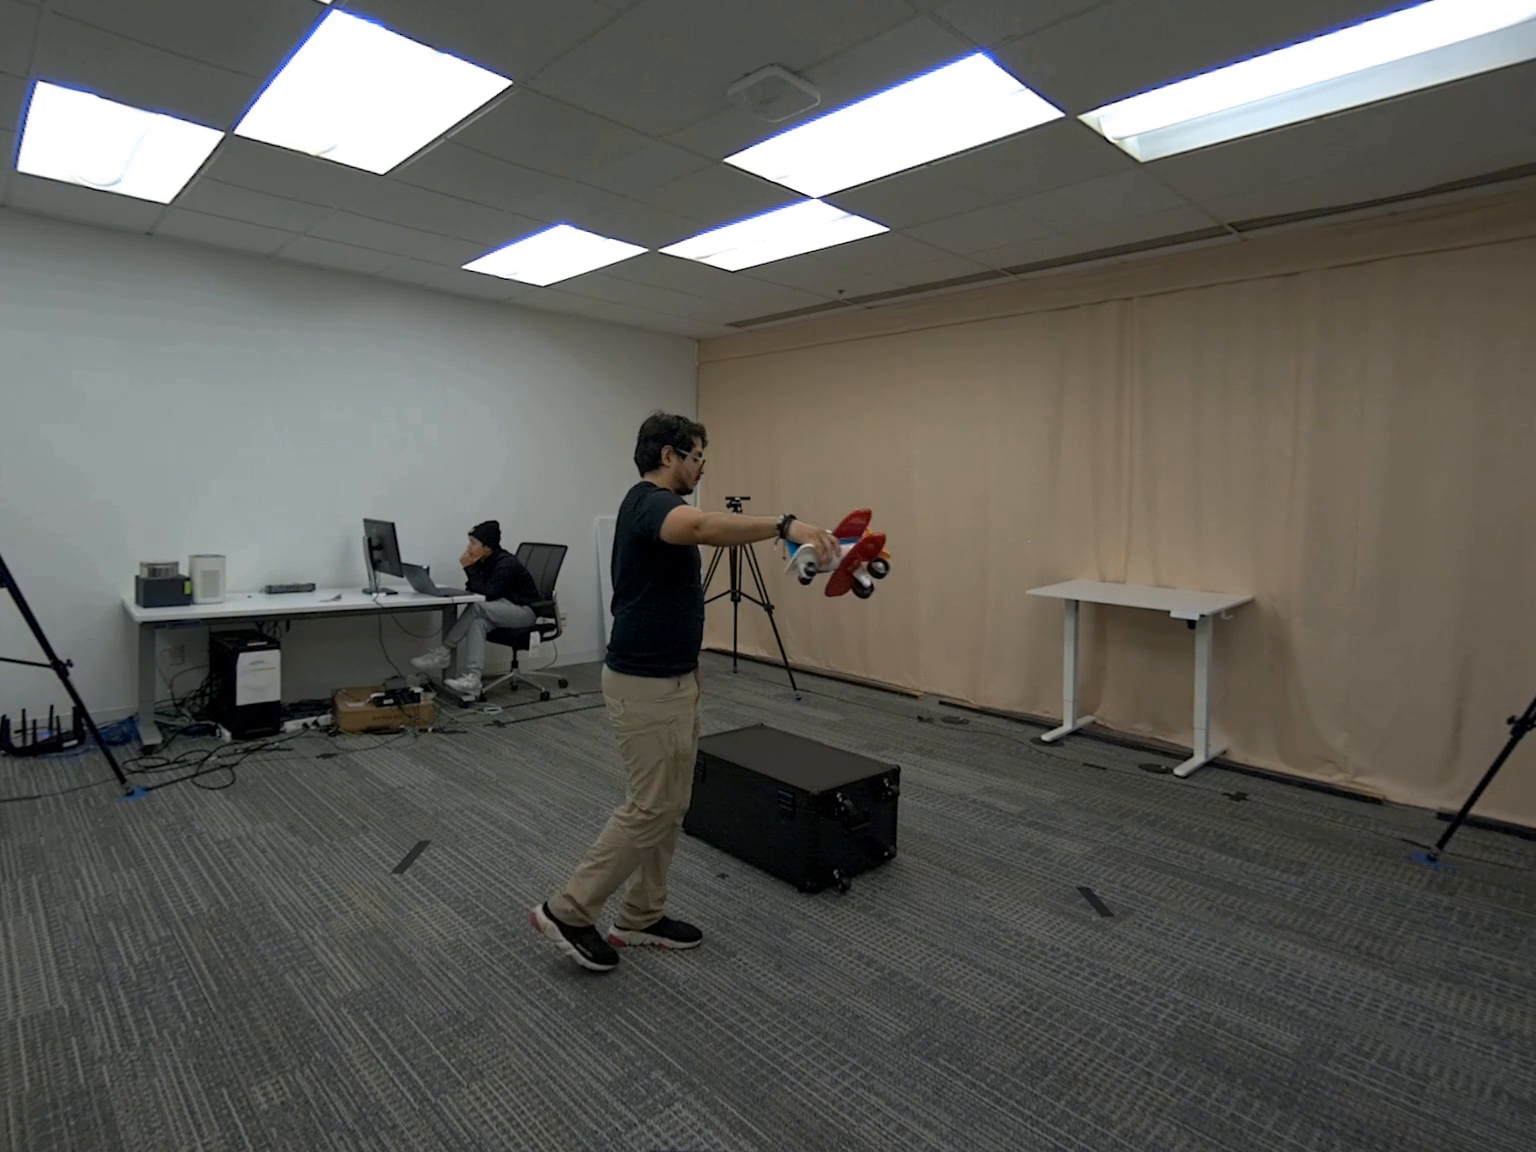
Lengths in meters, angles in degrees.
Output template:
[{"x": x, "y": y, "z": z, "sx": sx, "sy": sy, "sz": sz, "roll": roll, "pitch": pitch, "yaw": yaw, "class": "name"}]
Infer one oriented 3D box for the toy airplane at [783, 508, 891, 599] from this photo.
[{"x": 0.161, "y": -0.050, "z": 2.082, "sx": 0.253, "sy": 0.160, "sz": 0.251, "roll": -32, "pitch": -43, "yaw": 28, "class": "toy airplane"}]
